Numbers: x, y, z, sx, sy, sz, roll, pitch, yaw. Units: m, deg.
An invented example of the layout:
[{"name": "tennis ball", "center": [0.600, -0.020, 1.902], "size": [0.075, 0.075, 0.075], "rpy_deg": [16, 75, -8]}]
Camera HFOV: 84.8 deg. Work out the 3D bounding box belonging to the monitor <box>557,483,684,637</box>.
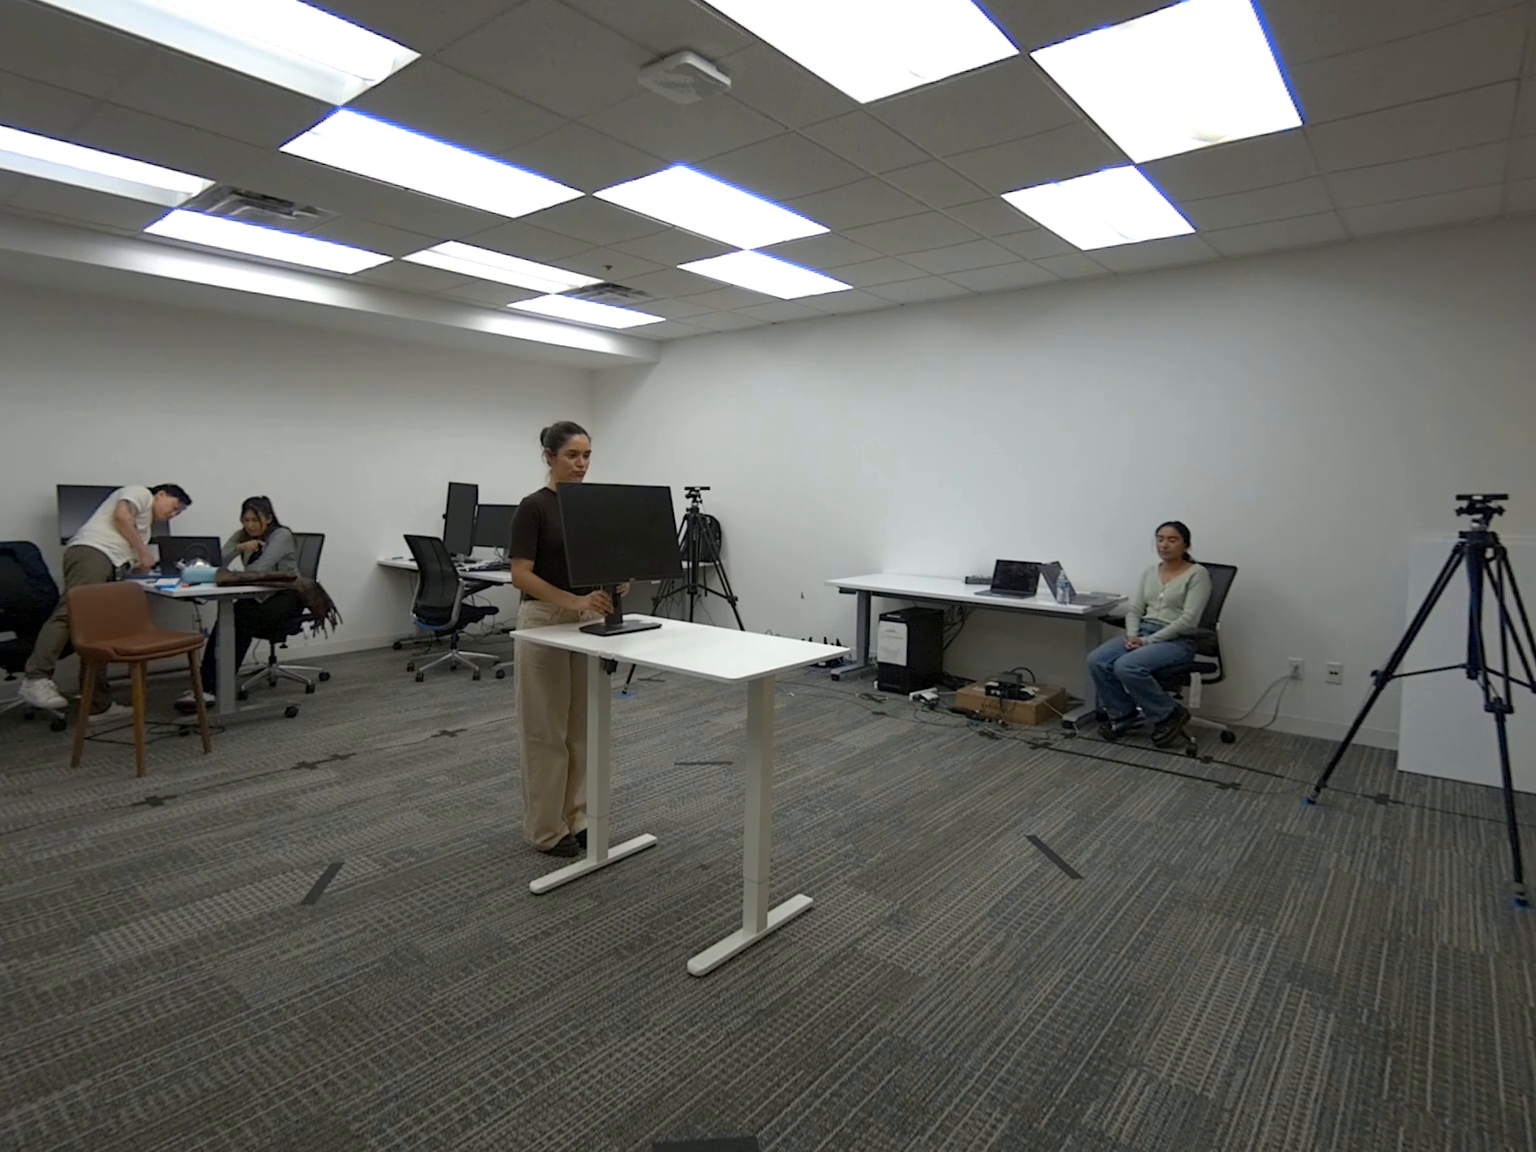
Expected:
[{"name": "monitor", "center": [-0.538, -0.069, 2.998], "size": [0.181, 0.514, 0.514], "rpy_deg": [8, 6, 37]}]
